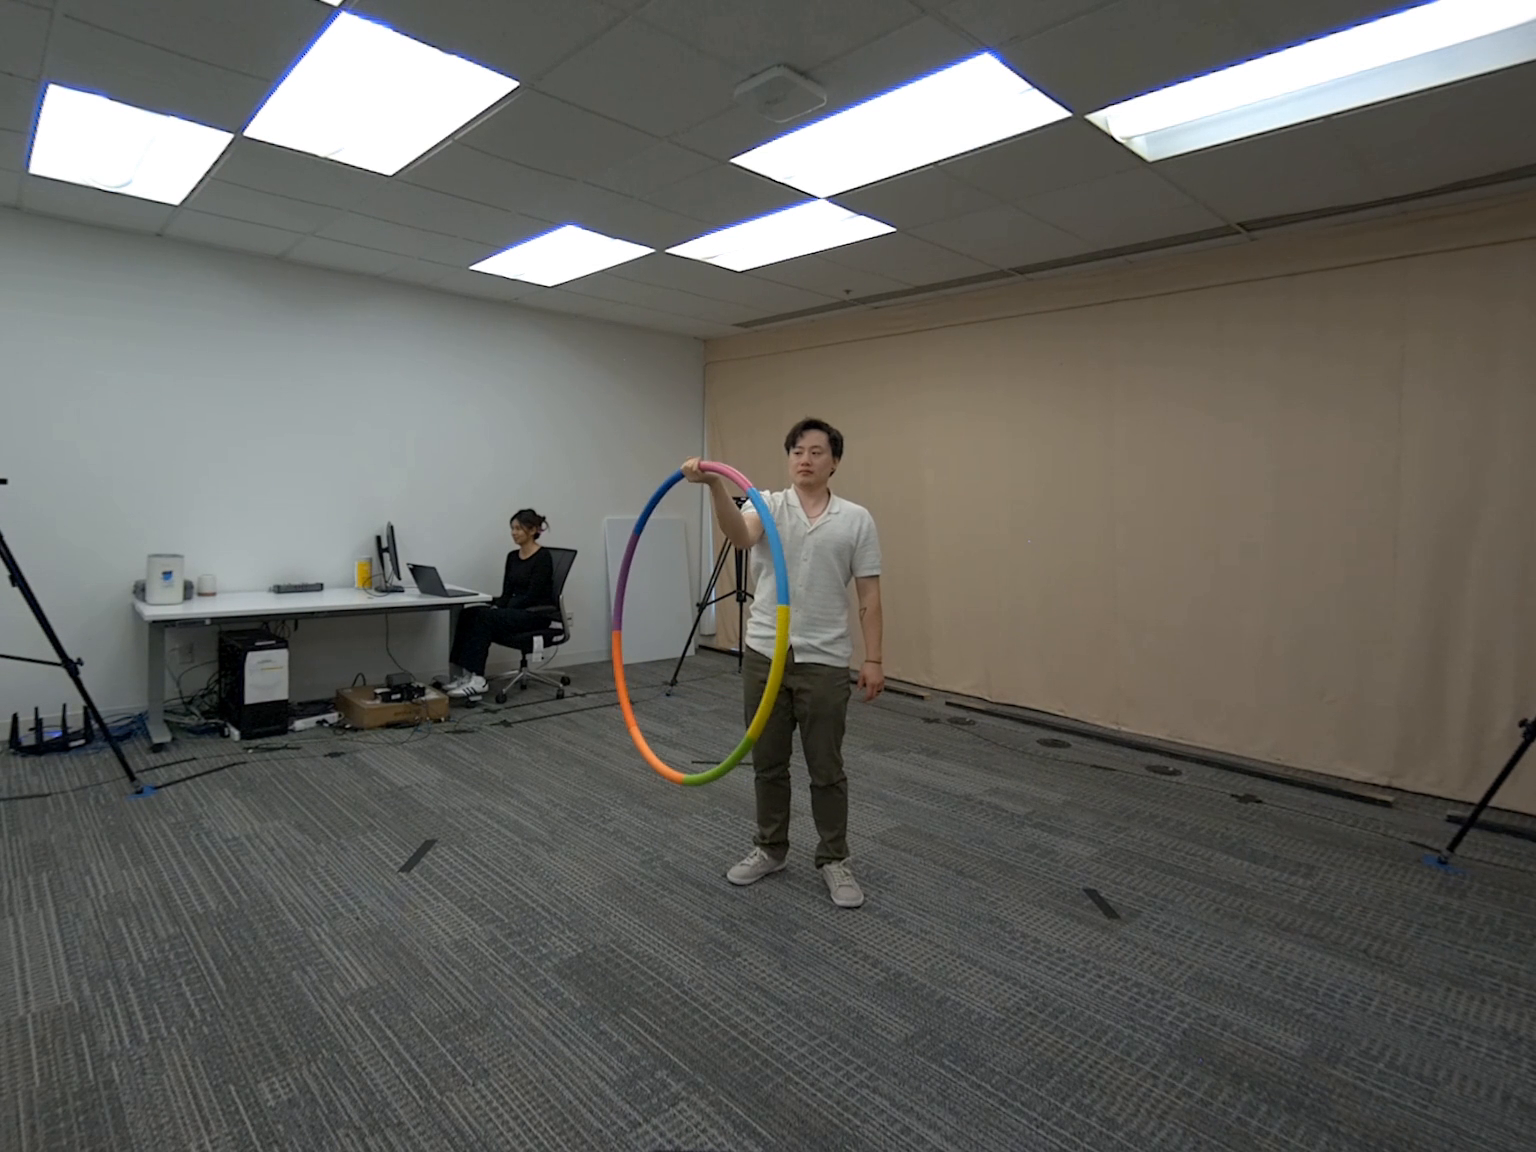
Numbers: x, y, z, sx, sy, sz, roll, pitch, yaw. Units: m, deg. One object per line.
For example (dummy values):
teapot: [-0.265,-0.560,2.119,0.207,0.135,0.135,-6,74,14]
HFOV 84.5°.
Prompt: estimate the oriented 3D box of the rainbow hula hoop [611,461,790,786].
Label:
rainbow hula hoop: [-0.250,0.129,2.617,0.035,0.979,1.003,7,0,-36]
